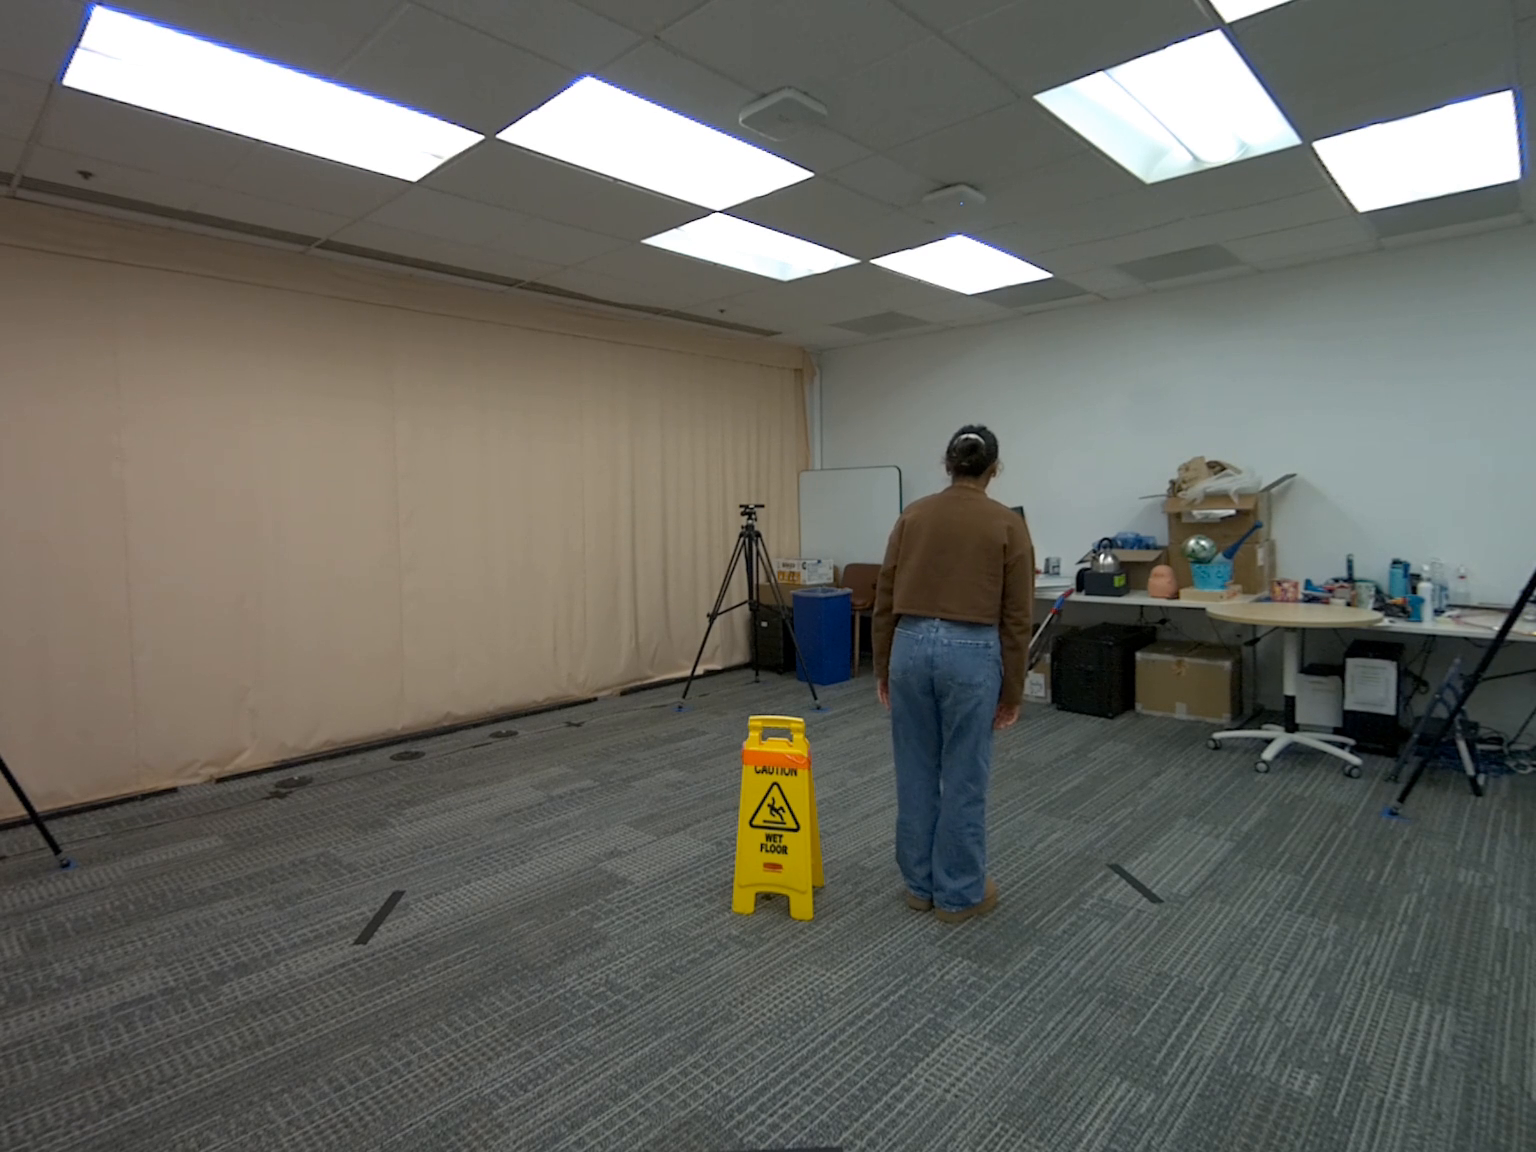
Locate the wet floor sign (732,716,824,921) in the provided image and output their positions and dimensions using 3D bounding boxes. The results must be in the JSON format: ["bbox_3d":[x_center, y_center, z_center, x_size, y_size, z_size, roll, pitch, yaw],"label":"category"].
[{"bbox_3d":[0.038,0.819,2.966,0.287,0.645,0.286,1,3,14],"label":"wet floor sign"}]
